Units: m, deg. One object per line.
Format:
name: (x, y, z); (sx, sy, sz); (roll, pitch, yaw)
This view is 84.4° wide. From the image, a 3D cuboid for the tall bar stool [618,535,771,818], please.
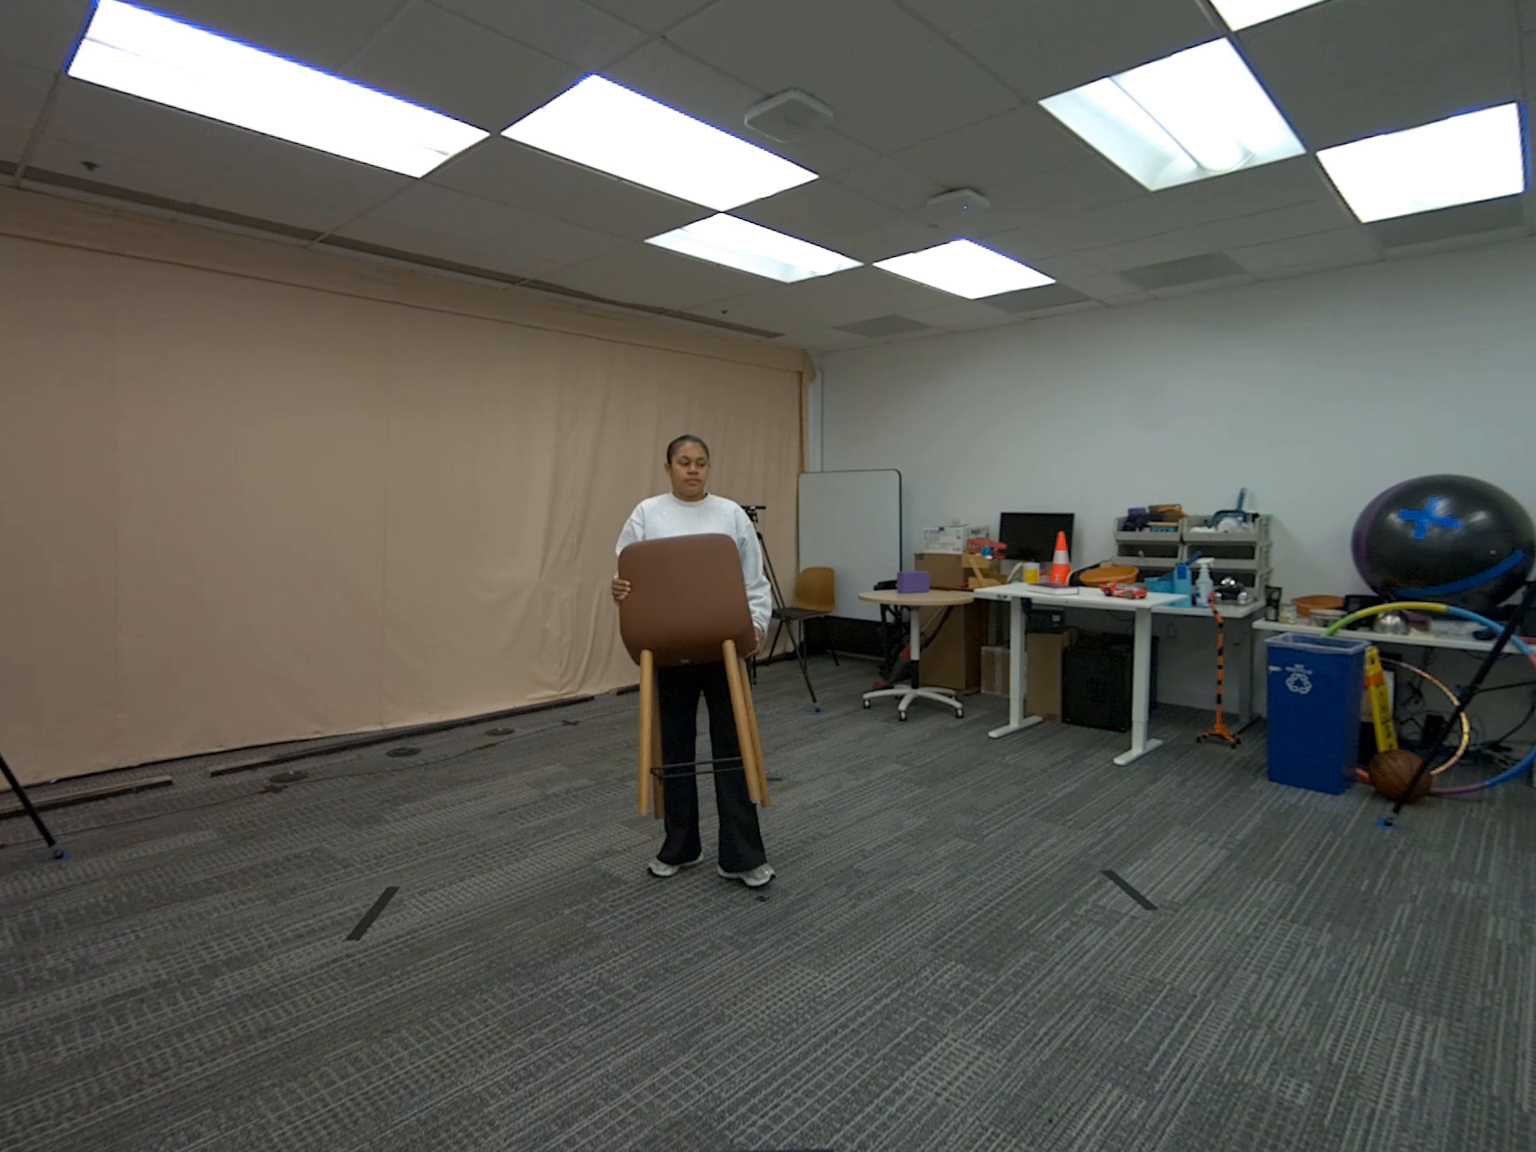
tall bar stool: (-0.258, 0.358, 2.894); (0.457, 0.902, 0.460); (-8, -18, 1)
